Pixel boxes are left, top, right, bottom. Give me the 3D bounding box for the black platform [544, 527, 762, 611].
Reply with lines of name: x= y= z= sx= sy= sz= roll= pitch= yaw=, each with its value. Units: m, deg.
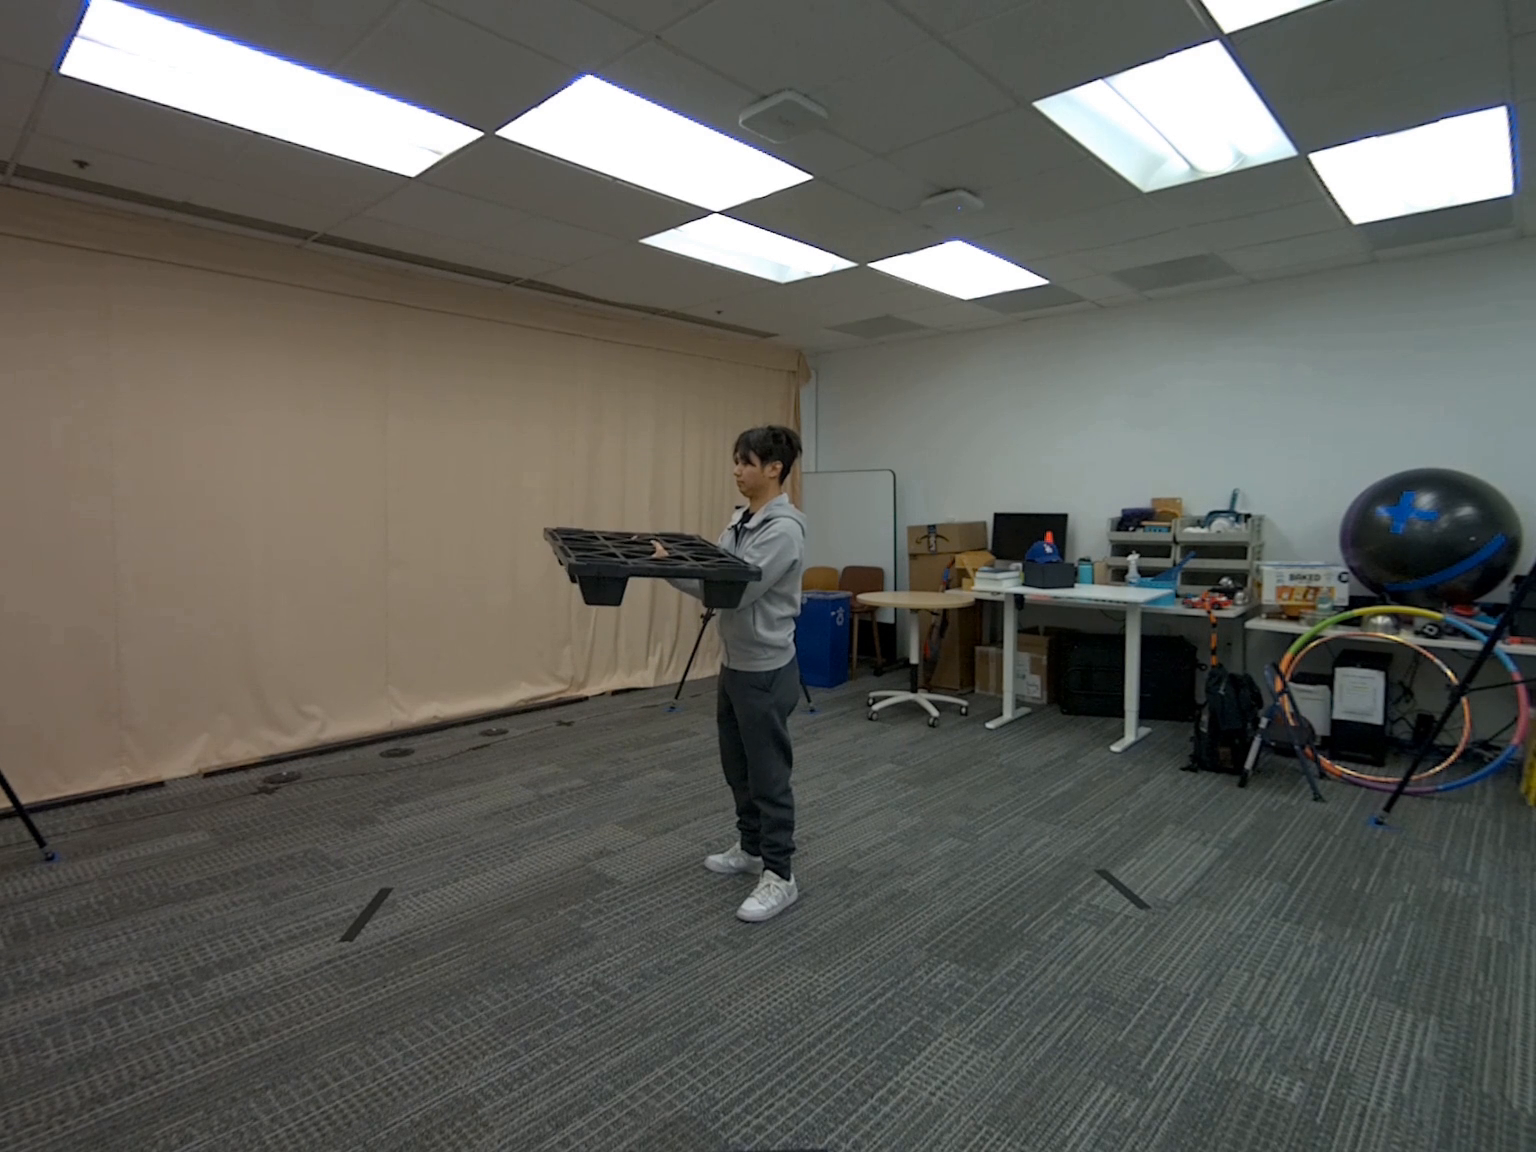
black platform: x=-0.440 y=-0.038 z=2.871 sx=0.593 sy=0.142 sz=0.825 roll=2 pitch=10 yaw=-19
